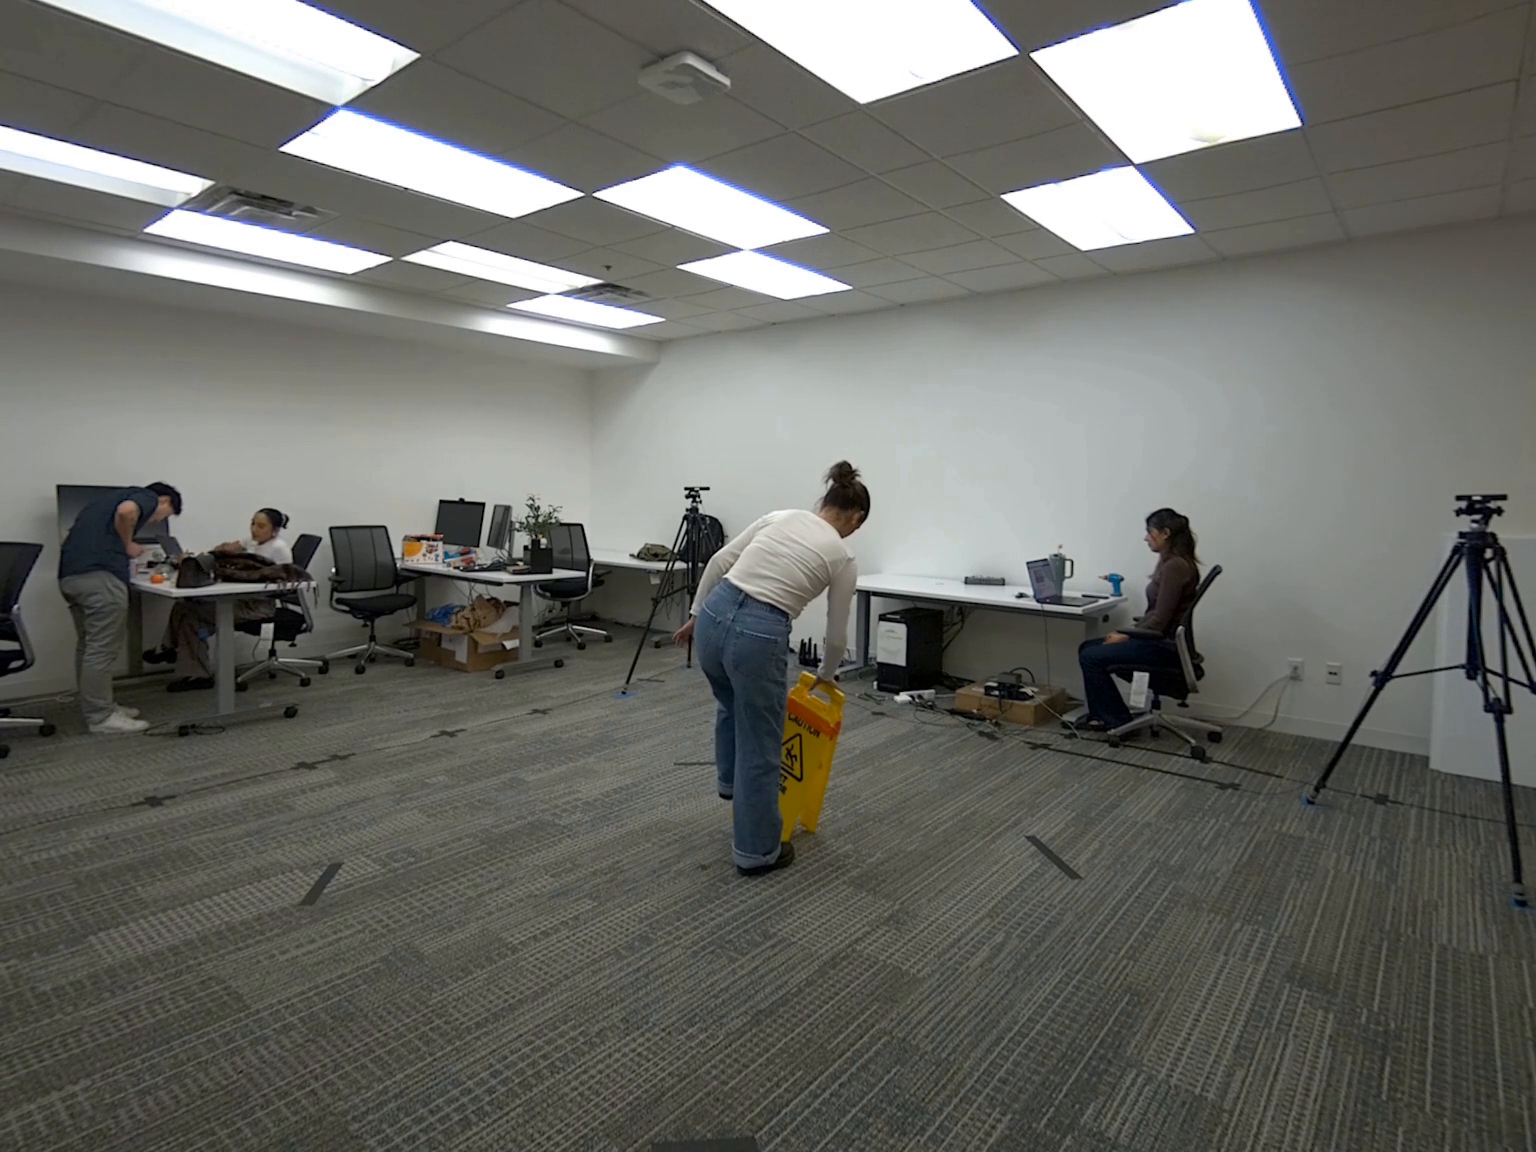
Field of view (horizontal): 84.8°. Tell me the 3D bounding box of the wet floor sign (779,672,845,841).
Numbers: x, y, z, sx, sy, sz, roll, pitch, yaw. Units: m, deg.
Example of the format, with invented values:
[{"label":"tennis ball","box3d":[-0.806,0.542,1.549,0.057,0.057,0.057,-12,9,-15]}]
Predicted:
[{"label":"wet floor sign","box3d":[0.107,0.701,3.346,0.293,0.640,0.282,28,18,30]}]
